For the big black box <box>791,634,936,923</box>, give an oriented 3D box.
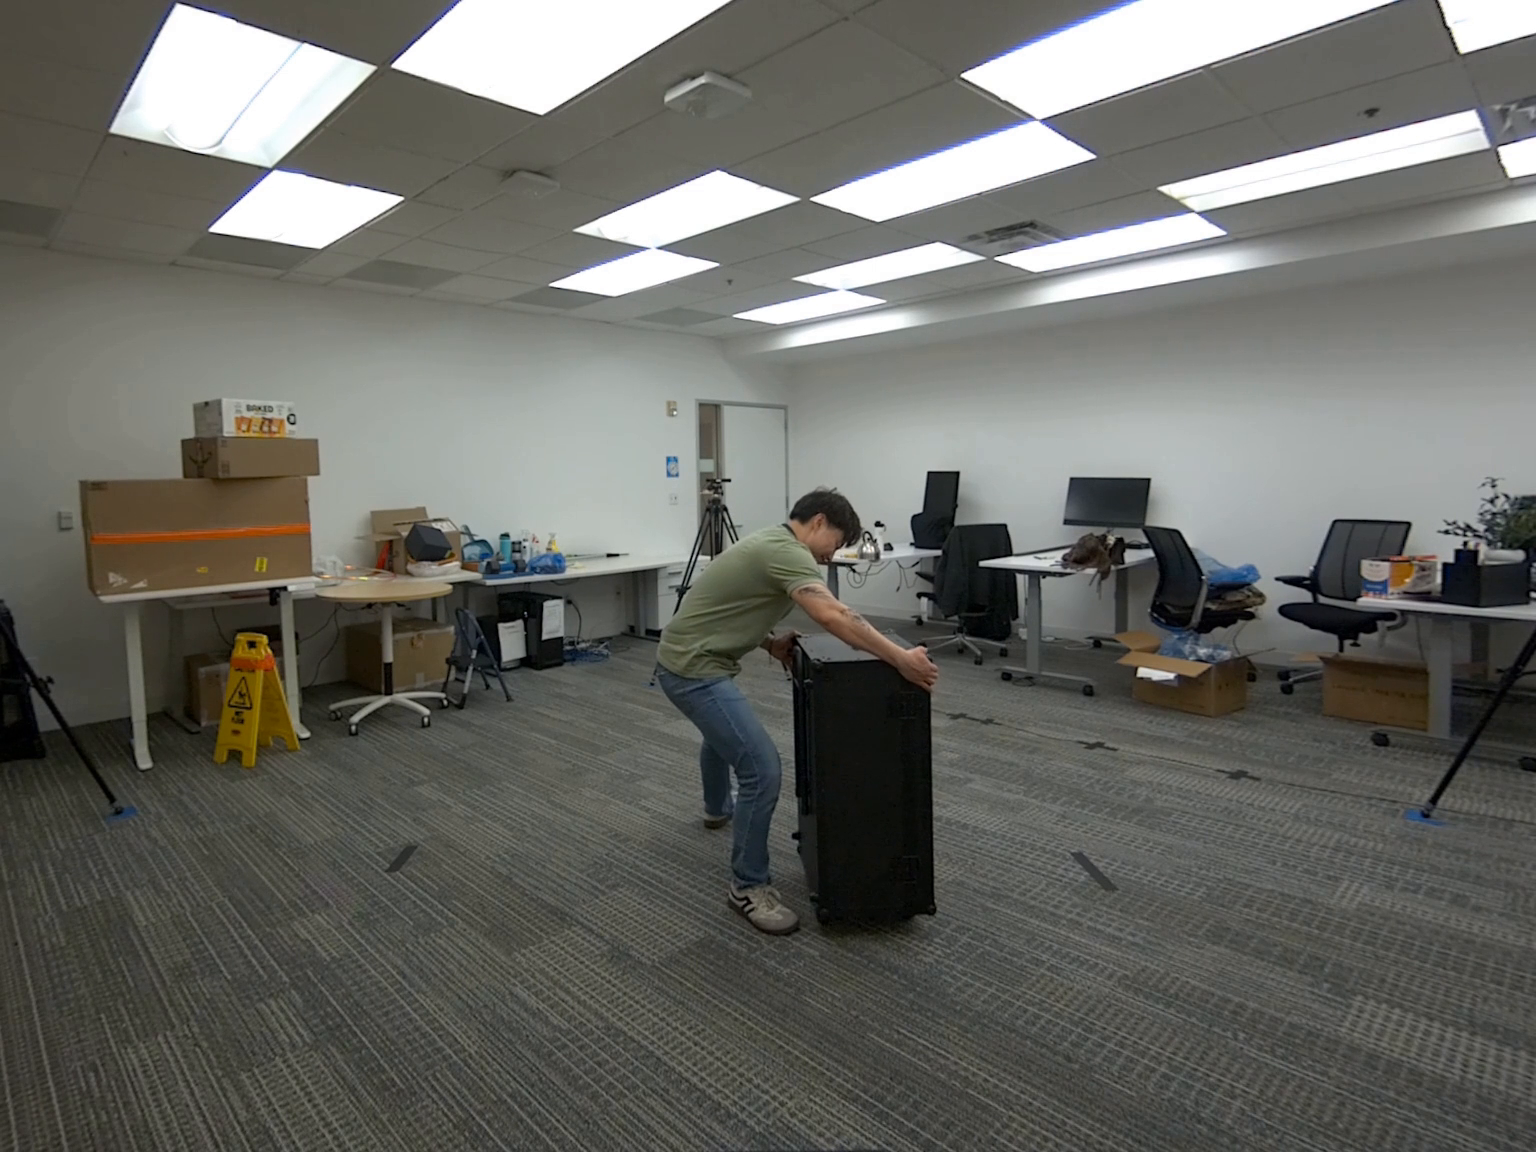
[{"bbox_3d":[0.291,0.648,2.780,0.395,0.859,0.524,-3,3,-3],"label":"big black box"}]
